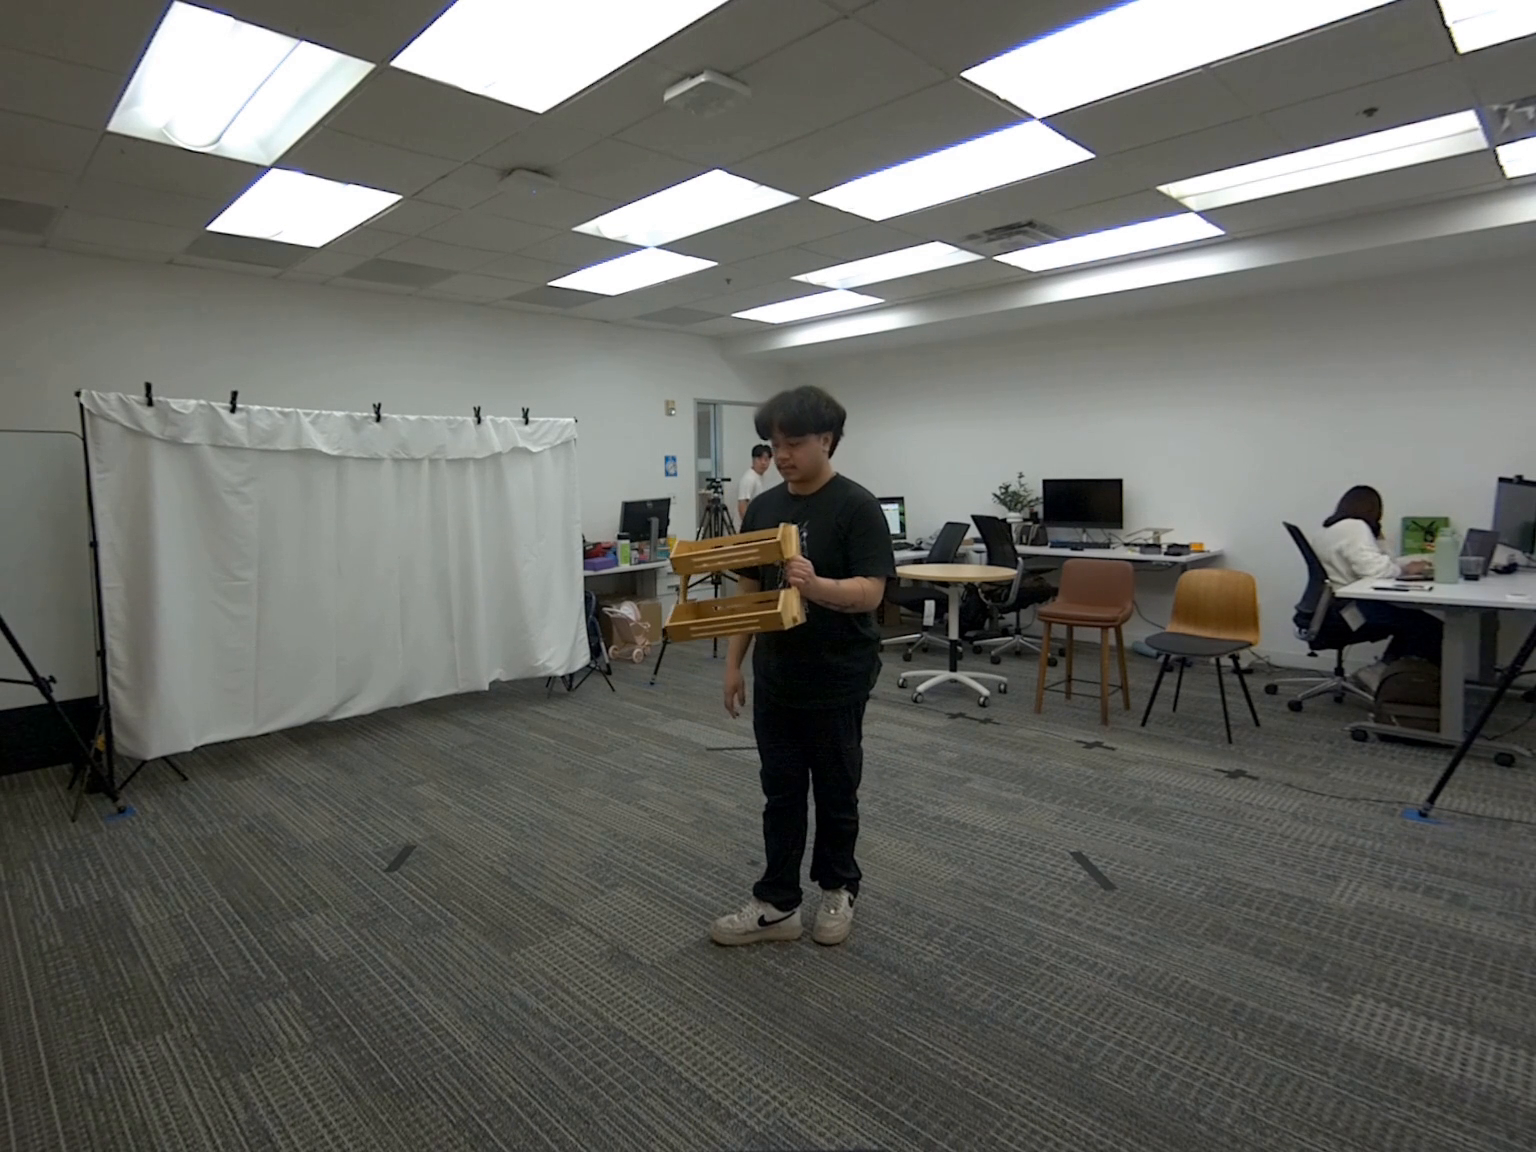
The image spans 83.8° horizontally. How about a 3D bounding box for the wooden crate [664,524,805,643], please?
[{"bbox_3d":[-0.087,0.012,2.203,0.329,0.274,0.297,-8,-3,15],"label":"wooden crate"}]
